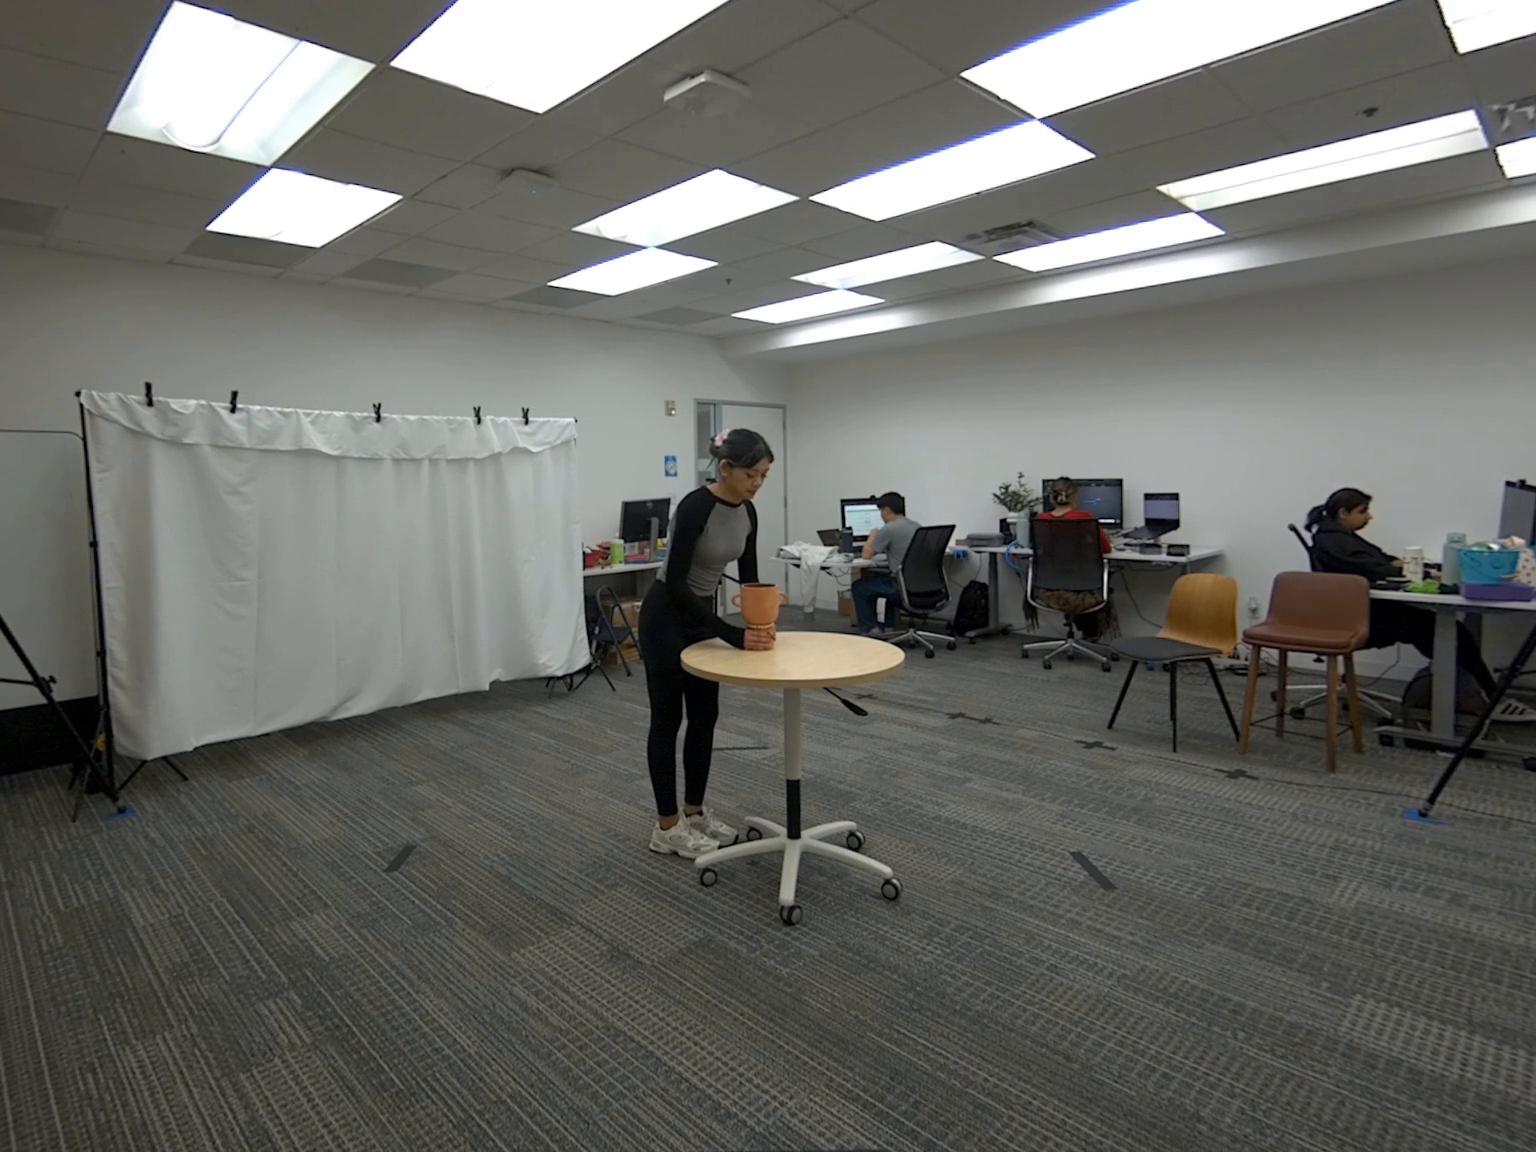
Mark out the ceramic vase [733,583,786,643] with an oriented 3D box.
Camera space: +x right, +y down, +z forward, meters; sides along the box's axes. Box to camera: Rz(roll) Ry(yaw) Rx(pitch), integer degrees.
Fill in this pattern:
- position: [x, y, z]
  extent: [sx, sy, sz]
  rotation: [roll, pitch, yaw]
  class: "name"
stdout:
- position: [-0.034, 0.136, 3.033]
  extent: [0.163, 0.219, 0.131]
  rotation: [1, 4, 30]
  class: "ceramic vase"
